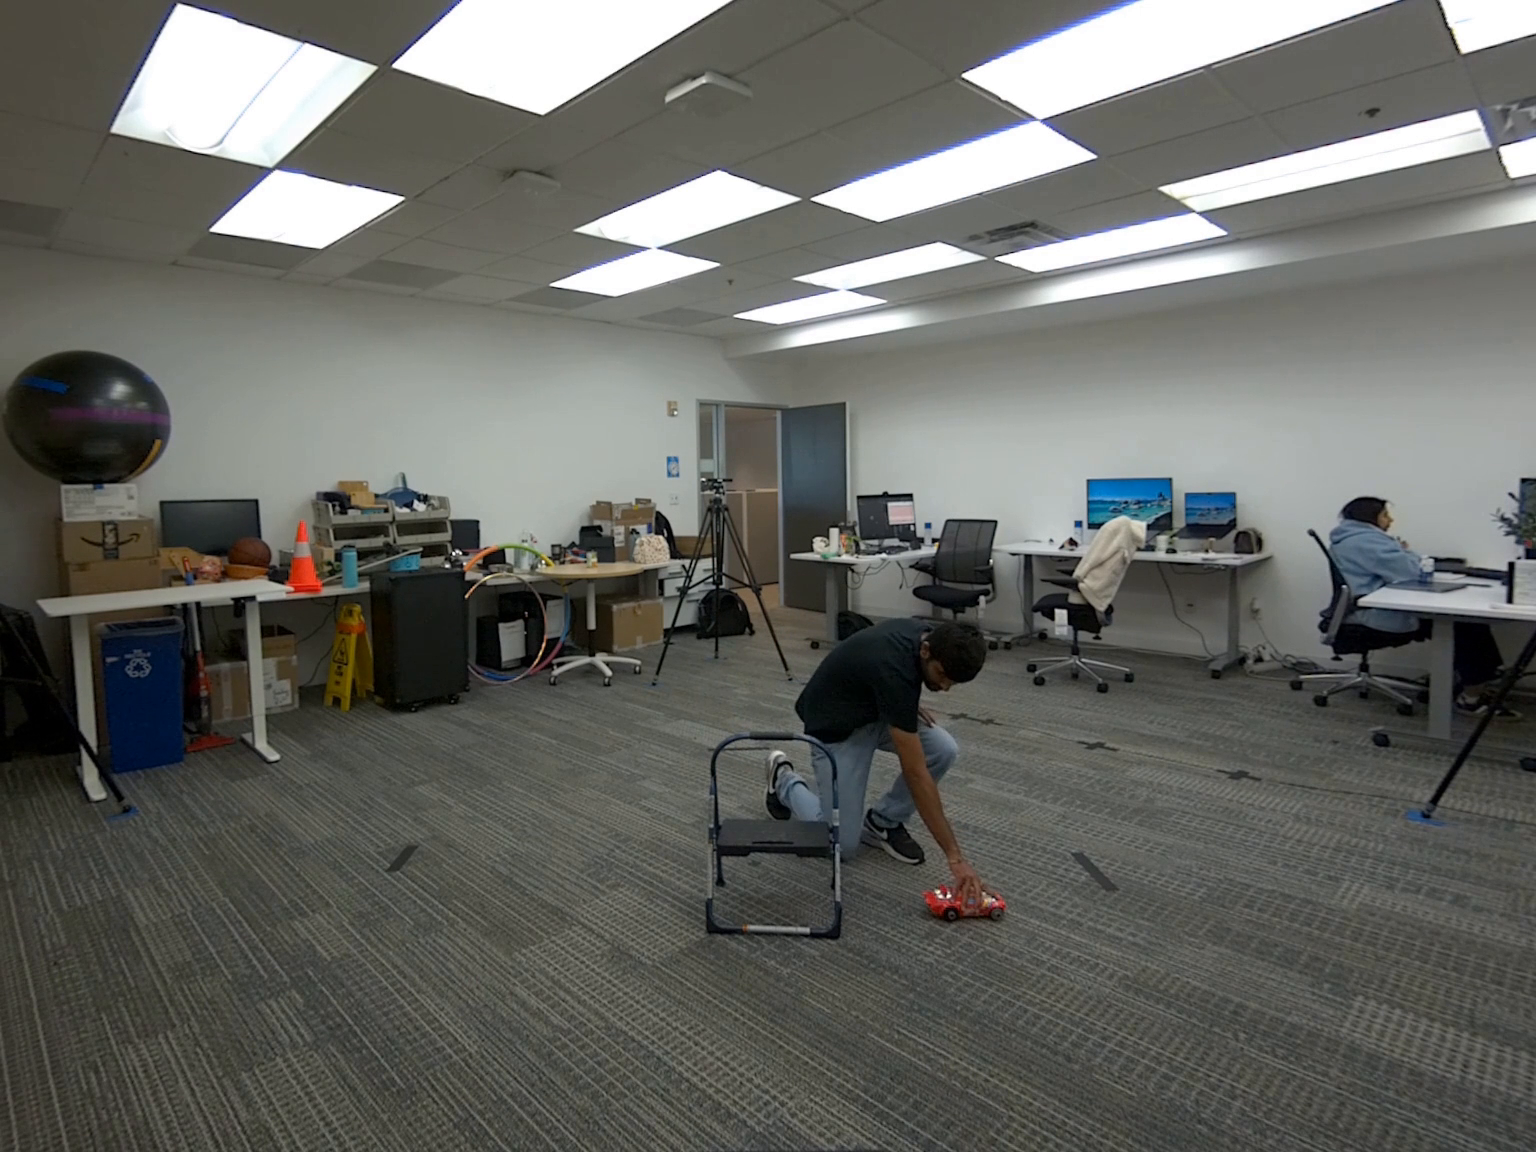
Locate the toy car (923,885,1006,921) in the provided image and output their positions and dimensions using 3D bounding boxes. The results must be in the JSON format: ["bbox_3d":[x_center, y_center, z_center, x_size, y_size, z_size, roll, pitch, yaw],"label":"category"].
[{"bbox_3d":[0.622,1.047,2.718,0.254,0.083,0.131,9,5,-3],"label":"toy car"}]
